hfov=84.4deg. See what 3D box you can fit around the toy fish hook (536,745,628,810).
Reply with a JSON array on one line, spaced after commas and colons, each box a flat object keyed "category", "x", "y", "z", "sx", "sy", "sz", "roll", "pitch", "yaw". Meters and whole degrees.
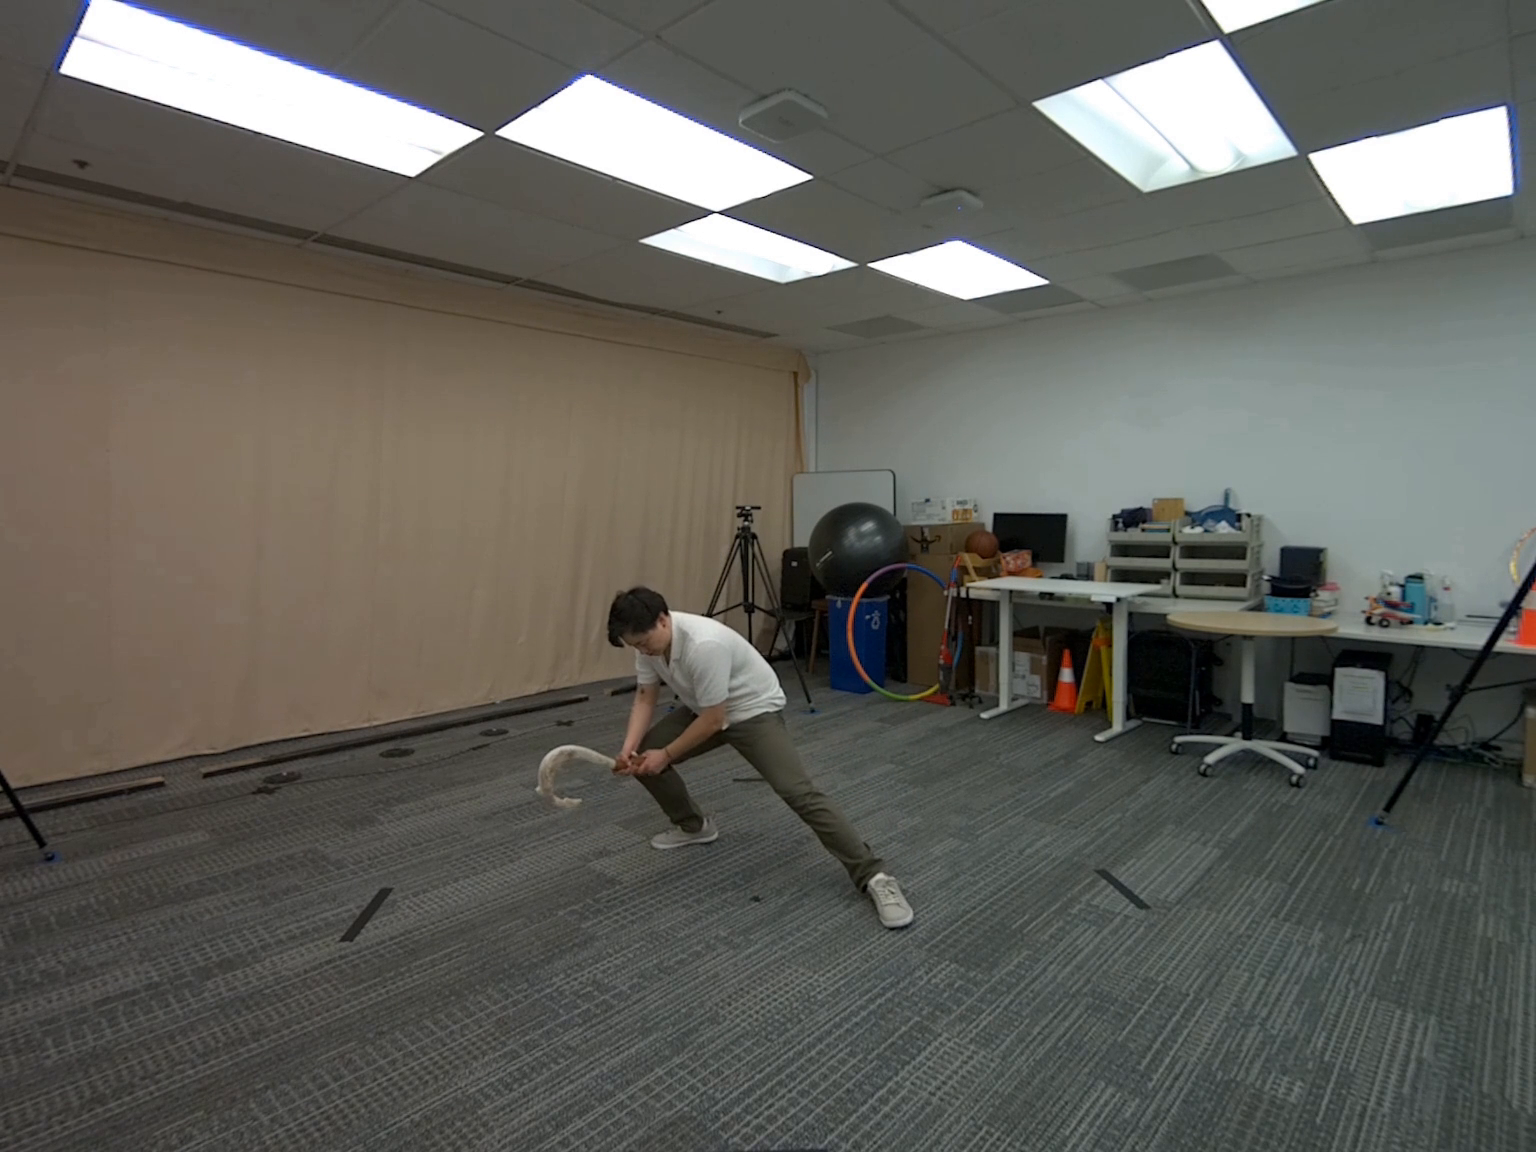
[{"category": "toy fish hook", "x": -0.620, "y": 0.741, "z": 3.060, "sx": 0.489, "sy": 0.224, "sz": 0.050, "roll": 15, "pitch": 0, "yaw": -41}]
